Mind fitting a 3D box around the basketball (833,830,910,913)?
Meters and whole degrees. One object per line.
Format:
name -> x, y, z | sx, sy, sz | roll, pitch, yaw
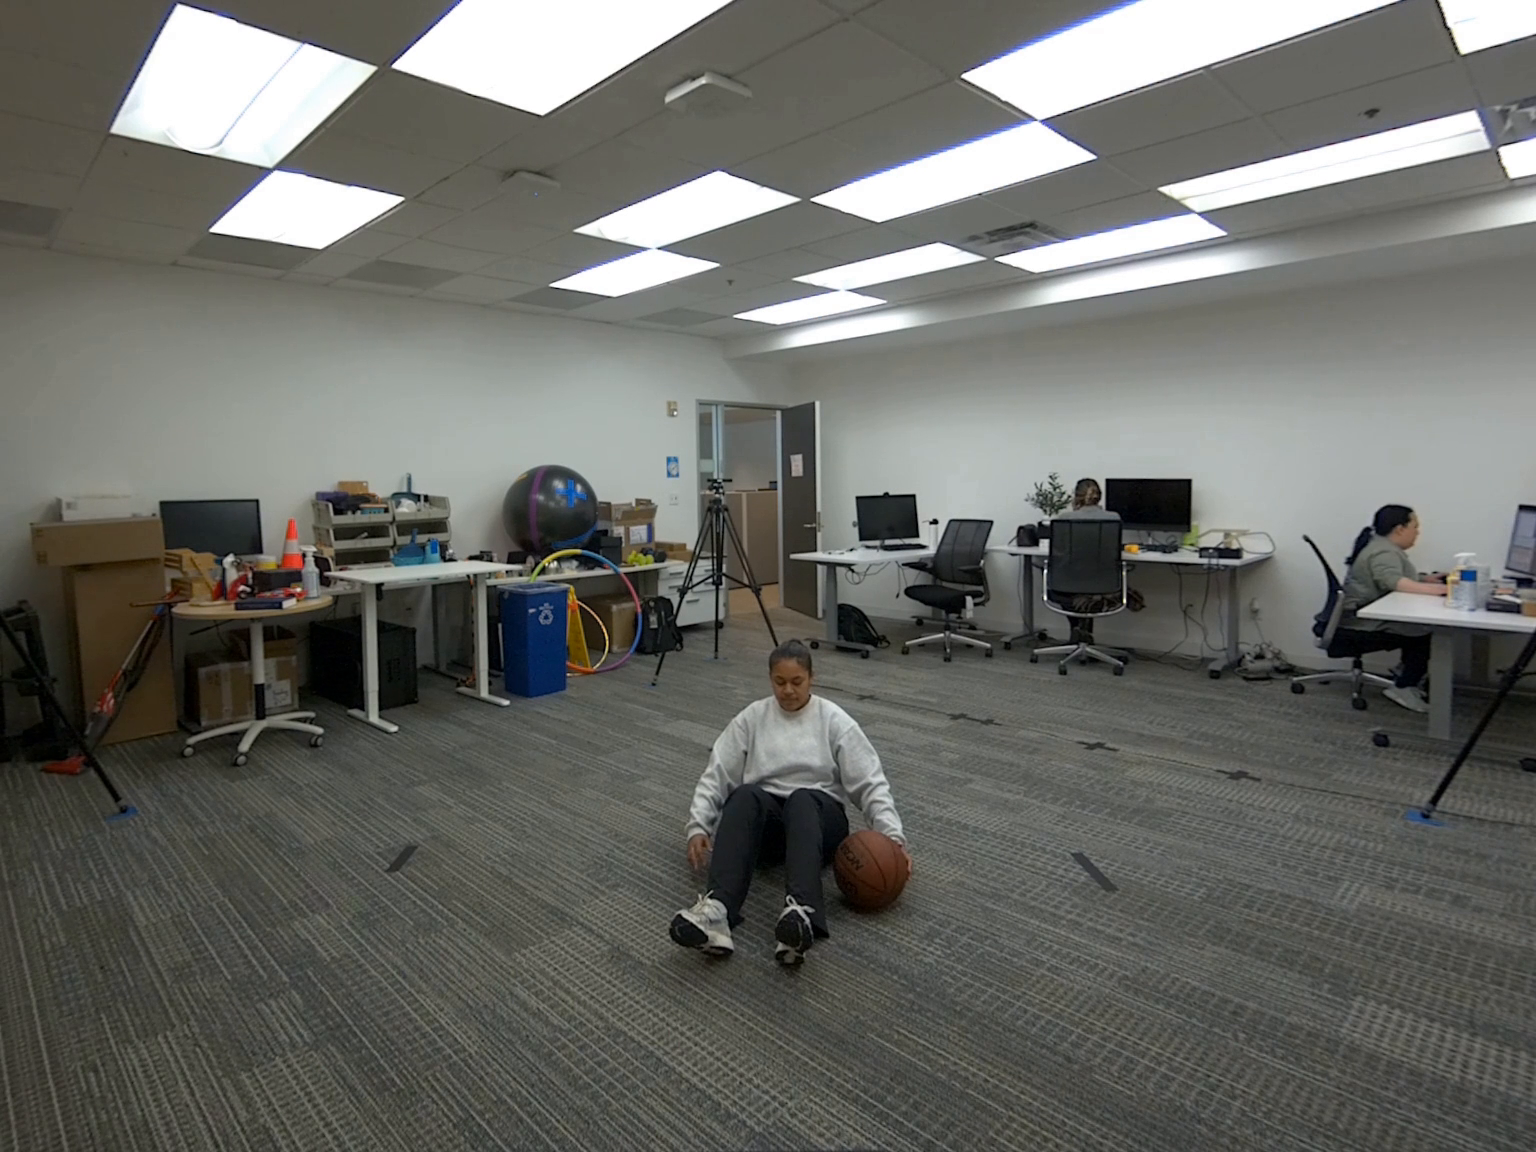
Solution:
basketball -> 0.315, 0.953, 2.783 | 0.236, 0.235, 0.237 | -1, 5, -2
